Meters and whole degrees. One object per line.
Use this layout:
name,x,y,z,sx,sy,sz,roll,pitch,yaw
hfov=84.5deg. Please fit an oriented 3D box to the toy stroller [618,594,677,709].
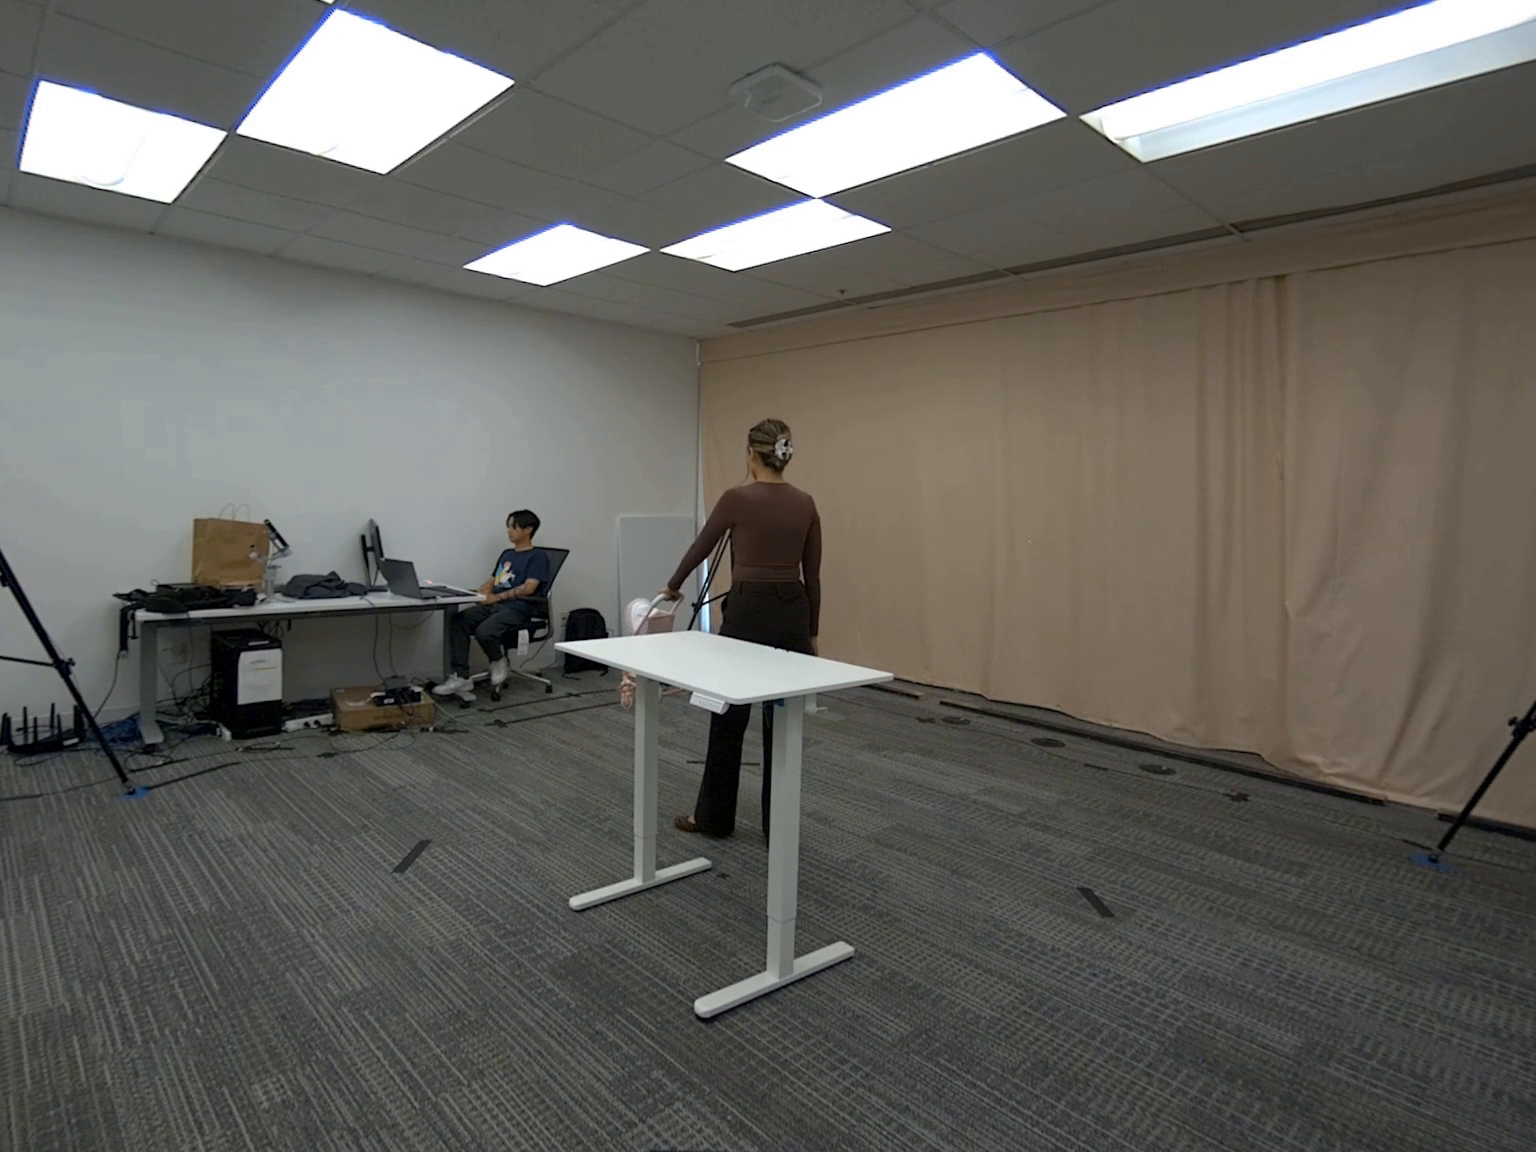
toy stroller,-0.542,0.338,3.752,0.349,0.534,0.275,1,3,36
